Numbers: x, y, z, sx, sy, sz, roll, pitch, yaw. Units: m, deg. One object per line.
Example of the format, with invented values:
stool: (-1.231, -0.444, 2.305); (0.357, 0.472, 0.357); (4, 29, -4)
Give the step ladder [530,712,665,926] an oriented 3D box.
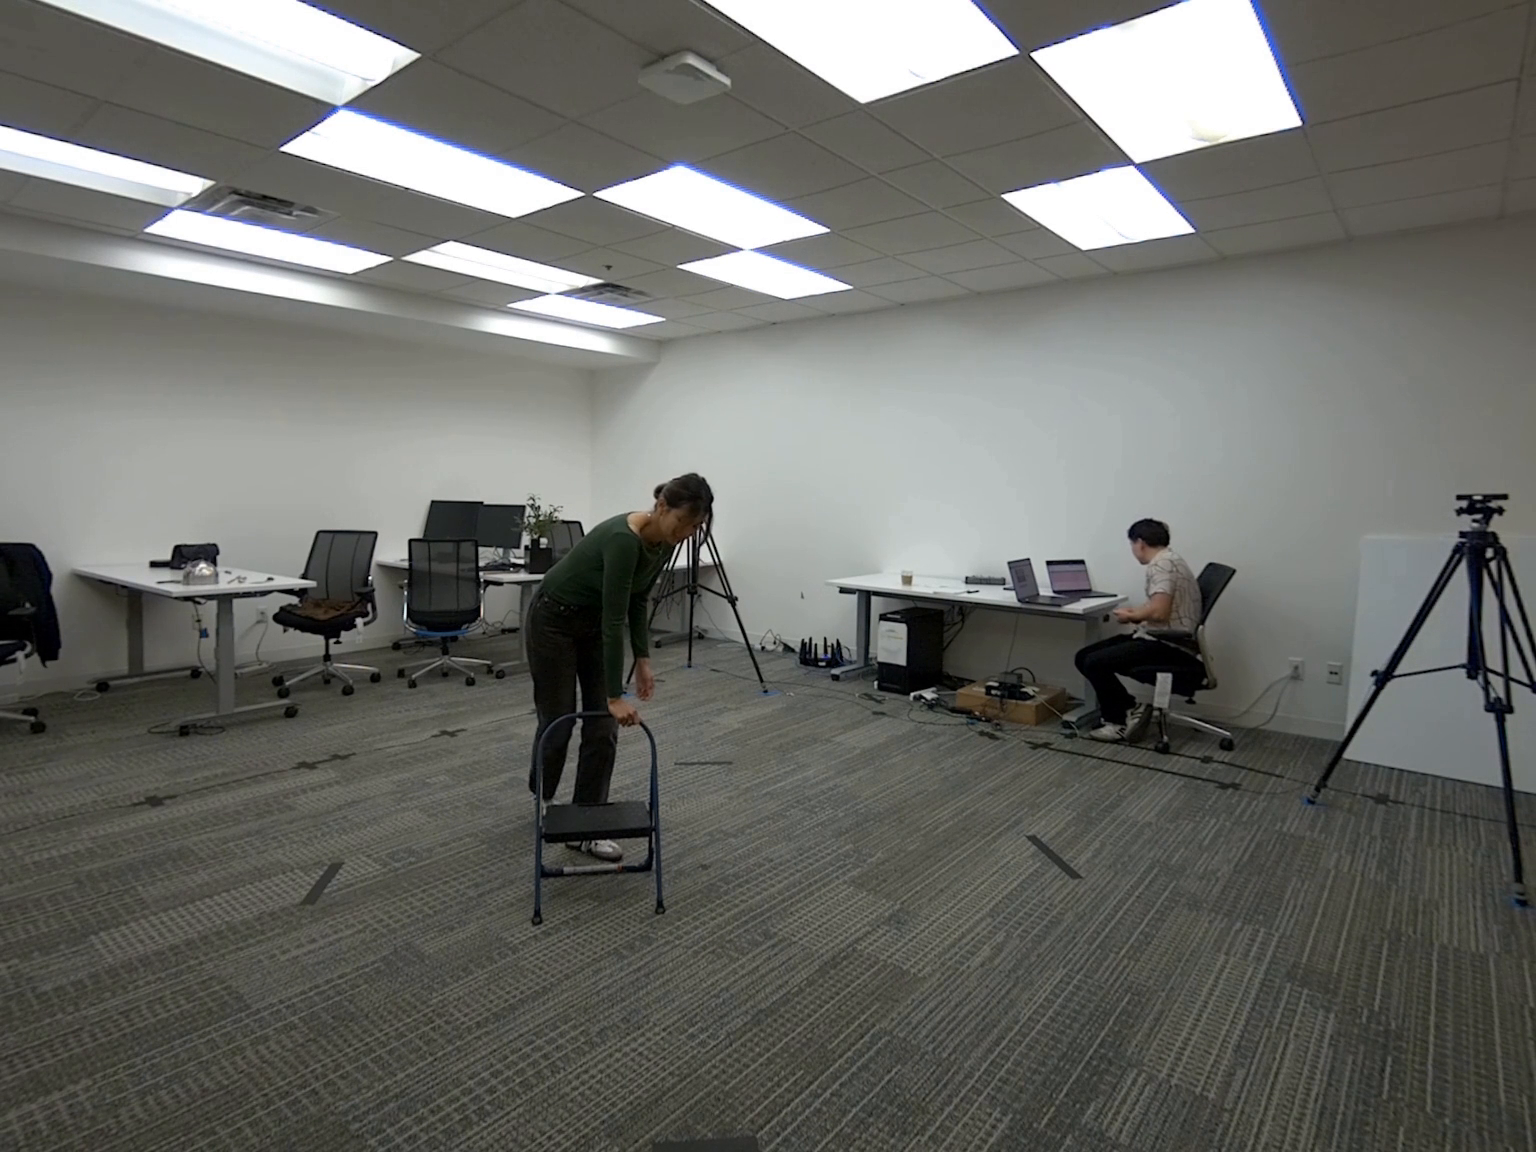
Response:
step ladder: (-0.585, 0.777, 2.892); (0.425, 0.604, 0.355); (0, 3, -13)
